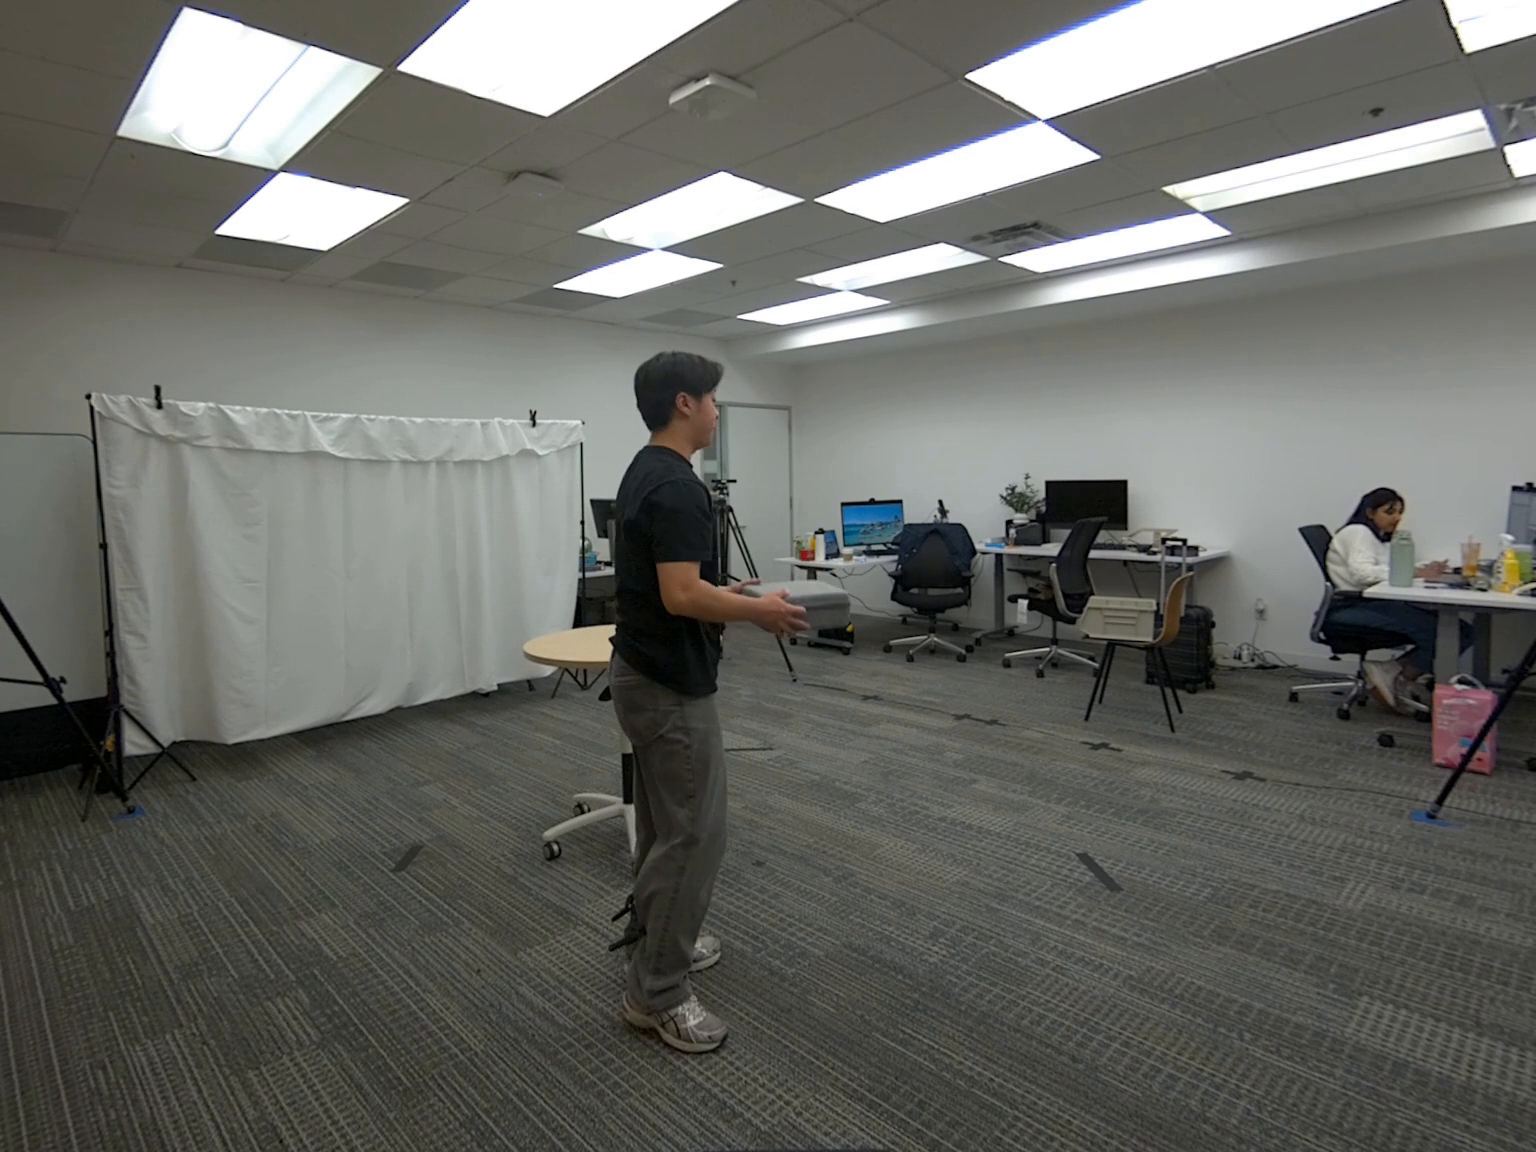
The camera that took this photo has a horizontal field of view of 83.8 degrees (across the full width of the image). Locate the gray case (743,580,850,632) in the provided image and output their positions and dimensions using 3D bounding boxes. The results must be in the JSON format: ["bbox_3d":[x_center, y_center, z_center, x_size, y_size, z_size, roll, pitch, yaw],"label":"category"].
[{"bbox_3d":[0.062,0.099,2.395,0.284,0.102,0.267,-3,7,-11],"label":"gray case"}]
